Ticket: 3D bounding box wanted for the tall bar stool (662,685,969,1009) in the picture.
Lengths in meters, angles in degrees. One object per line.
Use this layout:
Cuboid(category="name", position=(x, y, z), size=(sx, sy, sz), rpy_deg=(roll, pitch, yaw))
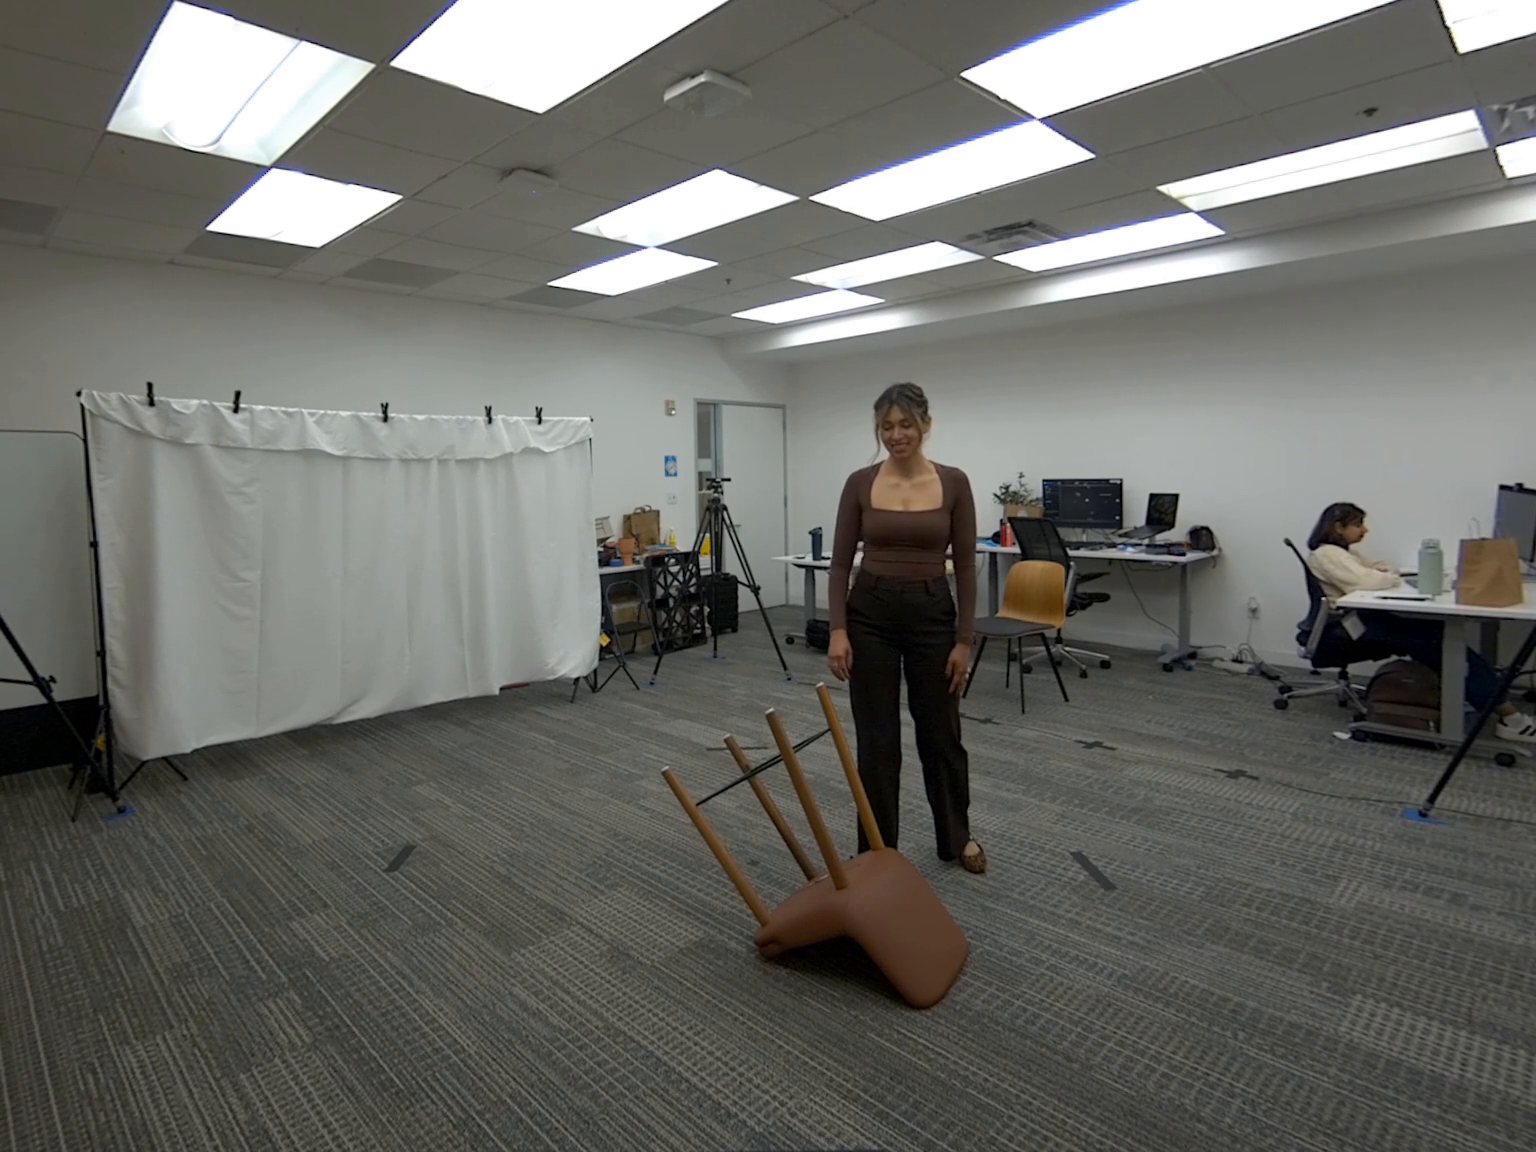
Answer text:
Cuboid(category="tall bar stool", position=(0.145, 0.851, 2.586), size=(0.470, 0.905, 0.447), rpy_deg=(-38, -14, 27))
